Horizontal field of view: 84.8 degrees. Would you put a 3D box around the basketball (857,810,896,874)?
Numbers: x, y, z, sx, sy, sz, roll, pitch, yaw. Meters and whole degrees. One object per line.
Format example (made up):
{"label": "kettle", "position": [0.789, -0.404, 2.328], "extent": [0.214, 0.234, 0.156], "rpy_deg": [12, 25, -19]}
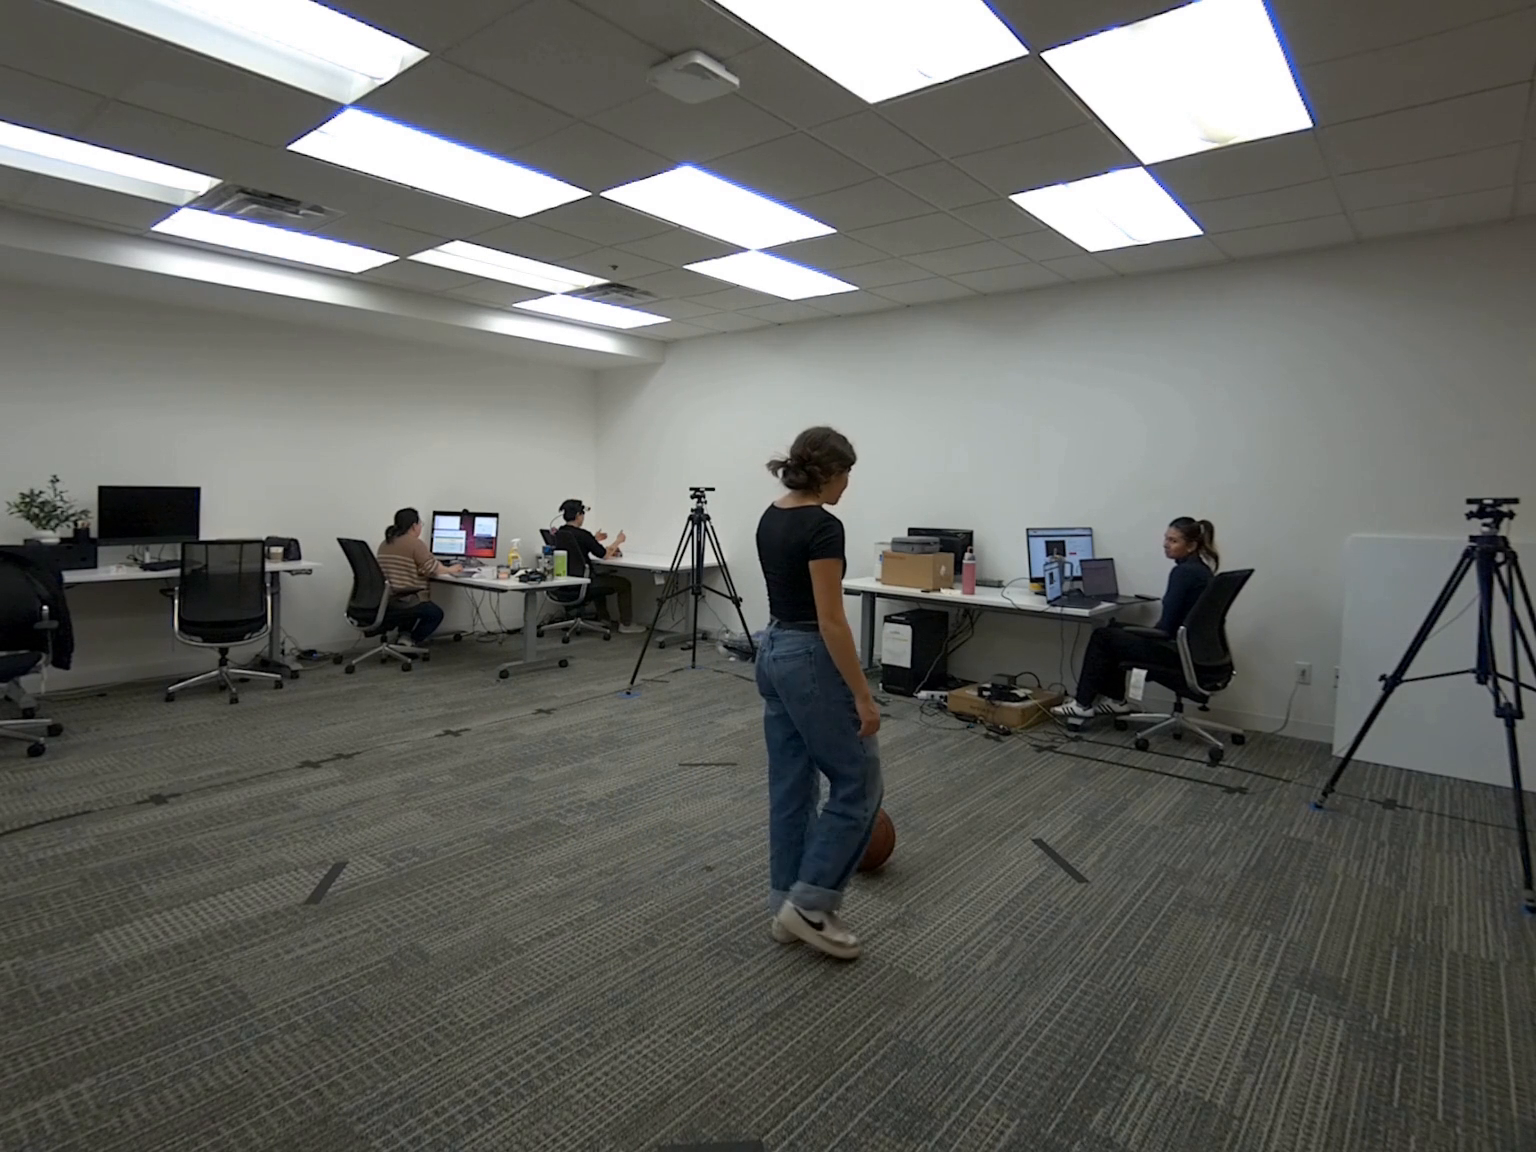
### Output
{"label": "basketball", "position": [0.344, 0.952, 3.149], "extent": [0.235, 0.235, 0.237], "rpy_deg": [1, 4, -2]}
